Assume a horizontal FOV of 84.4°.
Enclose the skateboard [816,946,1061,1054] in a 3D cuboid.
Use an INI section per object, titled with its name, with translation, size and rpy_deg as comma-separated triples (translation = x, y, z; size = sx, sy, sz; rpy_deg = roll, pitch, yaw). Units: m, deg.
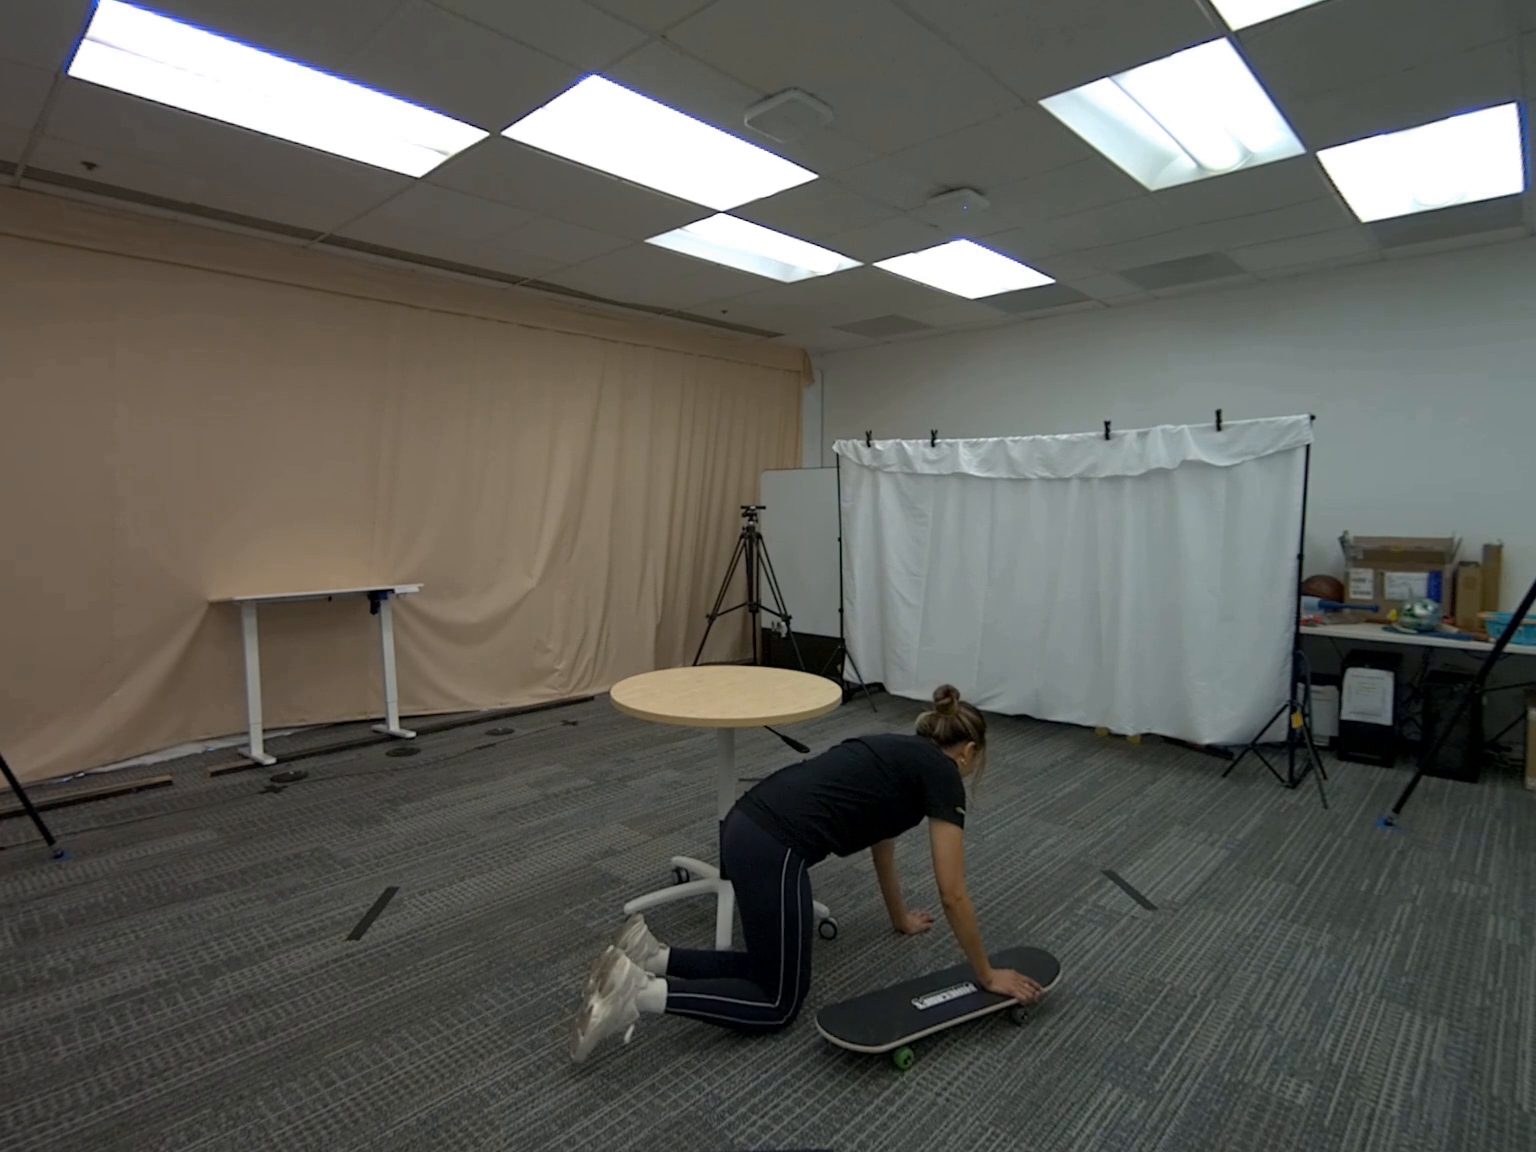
[skateboard]
translation = 0.482, 1.158, 2.227
size = 0.766, 0.110, 0.199
rpy_deg = -2, 6, -26
